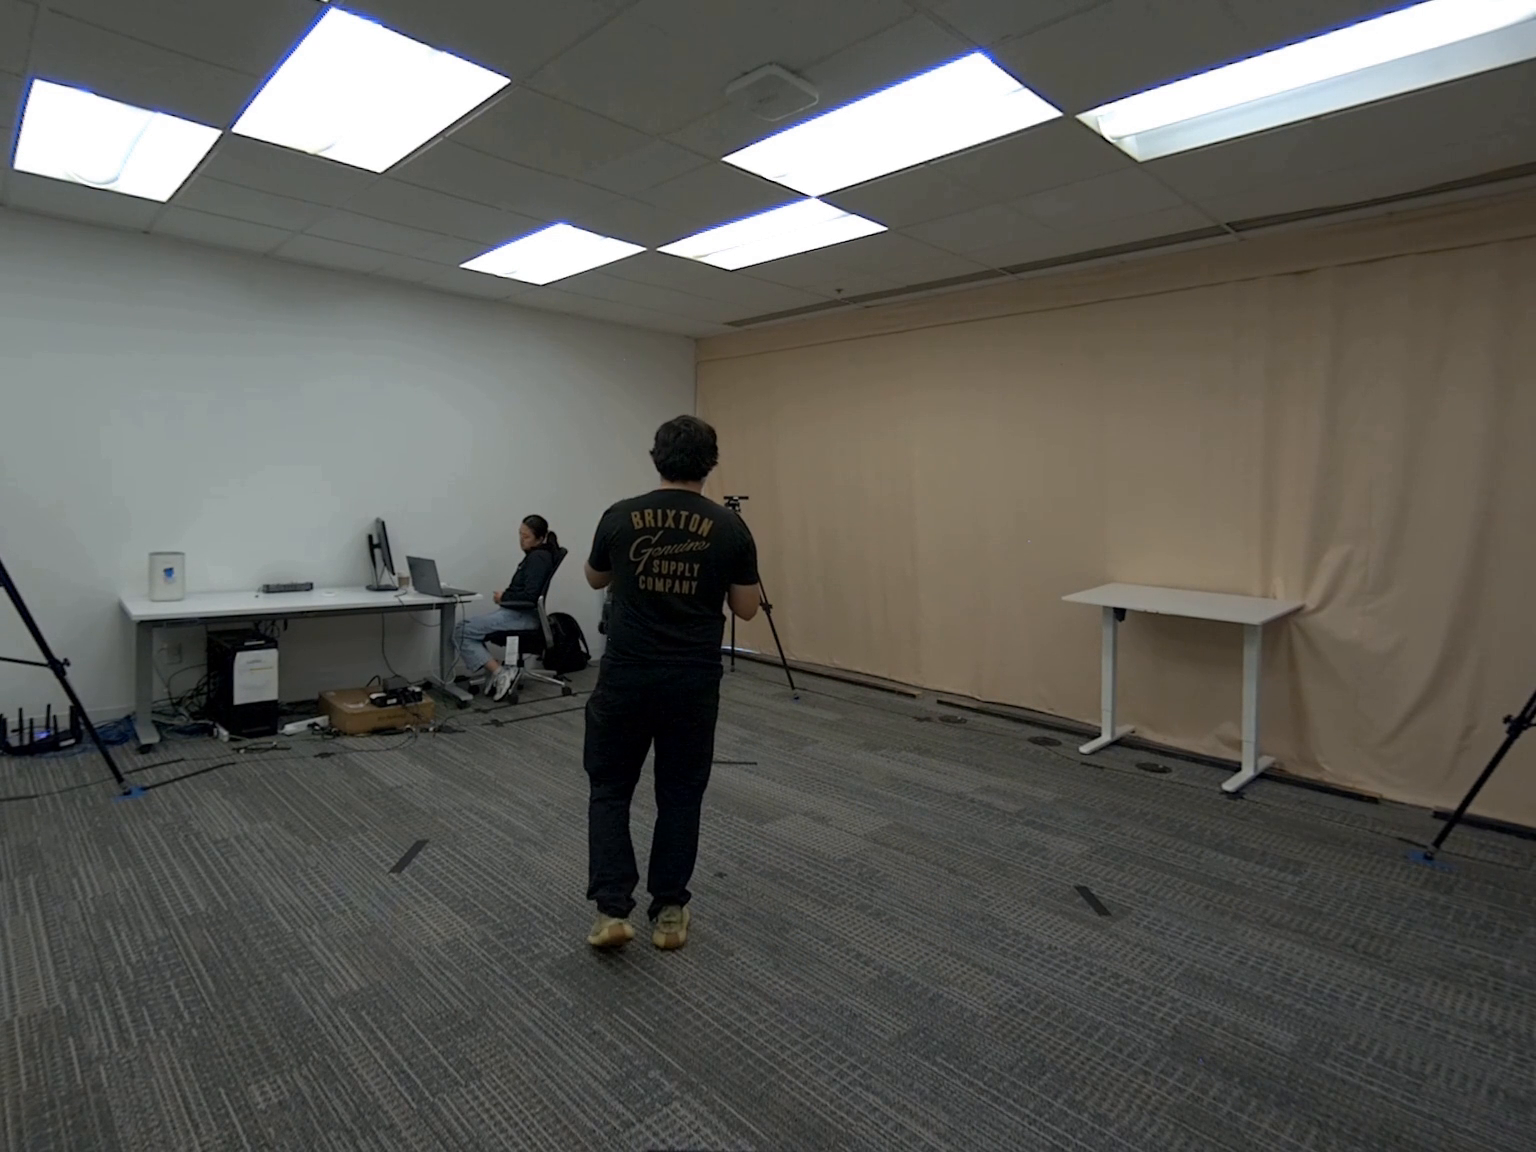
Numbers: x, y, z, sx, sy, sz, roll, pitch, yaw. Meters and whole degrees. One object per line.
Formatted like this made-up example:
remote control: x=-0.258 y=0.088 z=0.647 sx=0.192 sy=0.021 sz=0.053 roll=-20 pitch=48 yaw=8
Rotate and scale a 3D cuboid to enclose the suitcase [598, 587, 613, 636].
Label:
suitcase: x=-0.359 y=-0.021 z=3.032 sx=0.384 sy=0.553 sz=0.241 roll=5 pitch=-16 yaw=30
